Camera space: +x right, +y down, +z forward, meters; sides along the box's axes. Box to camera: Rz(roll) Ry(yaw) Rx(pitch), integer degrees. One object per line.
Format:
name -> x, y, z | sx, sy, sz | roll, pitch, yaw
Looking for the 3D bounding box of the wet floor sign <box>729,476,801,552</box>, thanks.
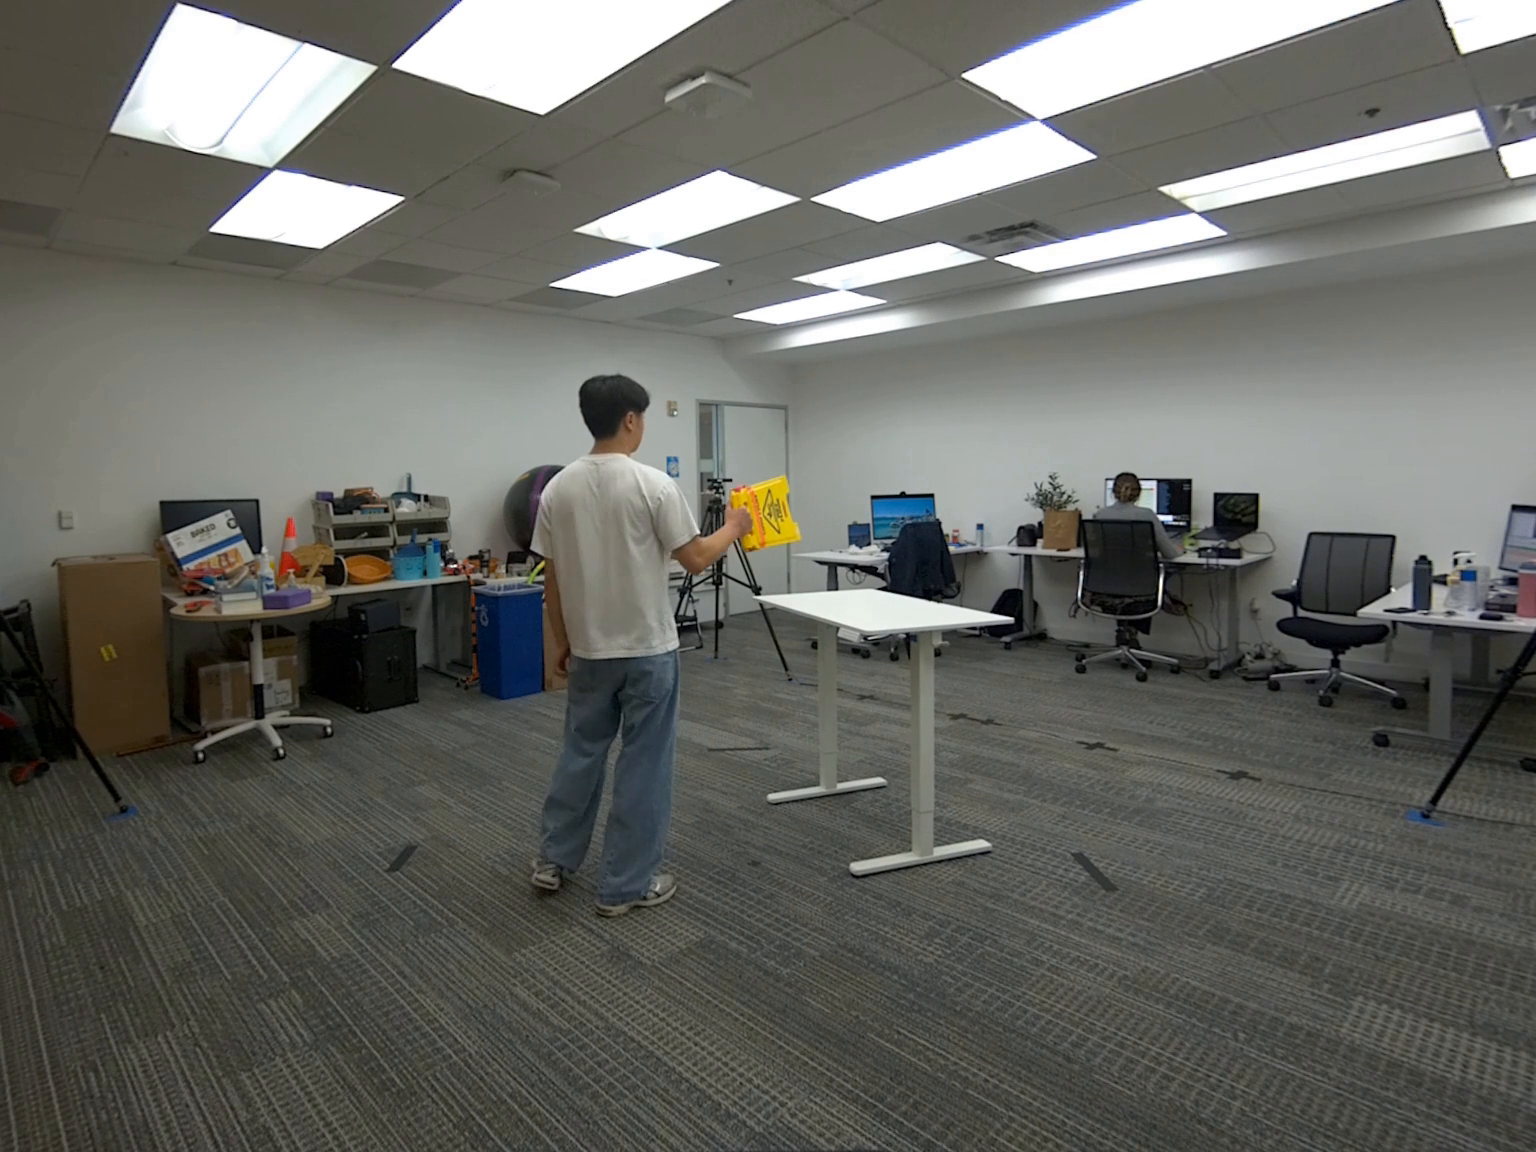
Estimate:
wet floor sign -> -0.061, -0.218, 3.284 | 0.291, 0.282, 0.643 | -14, 3, 8
